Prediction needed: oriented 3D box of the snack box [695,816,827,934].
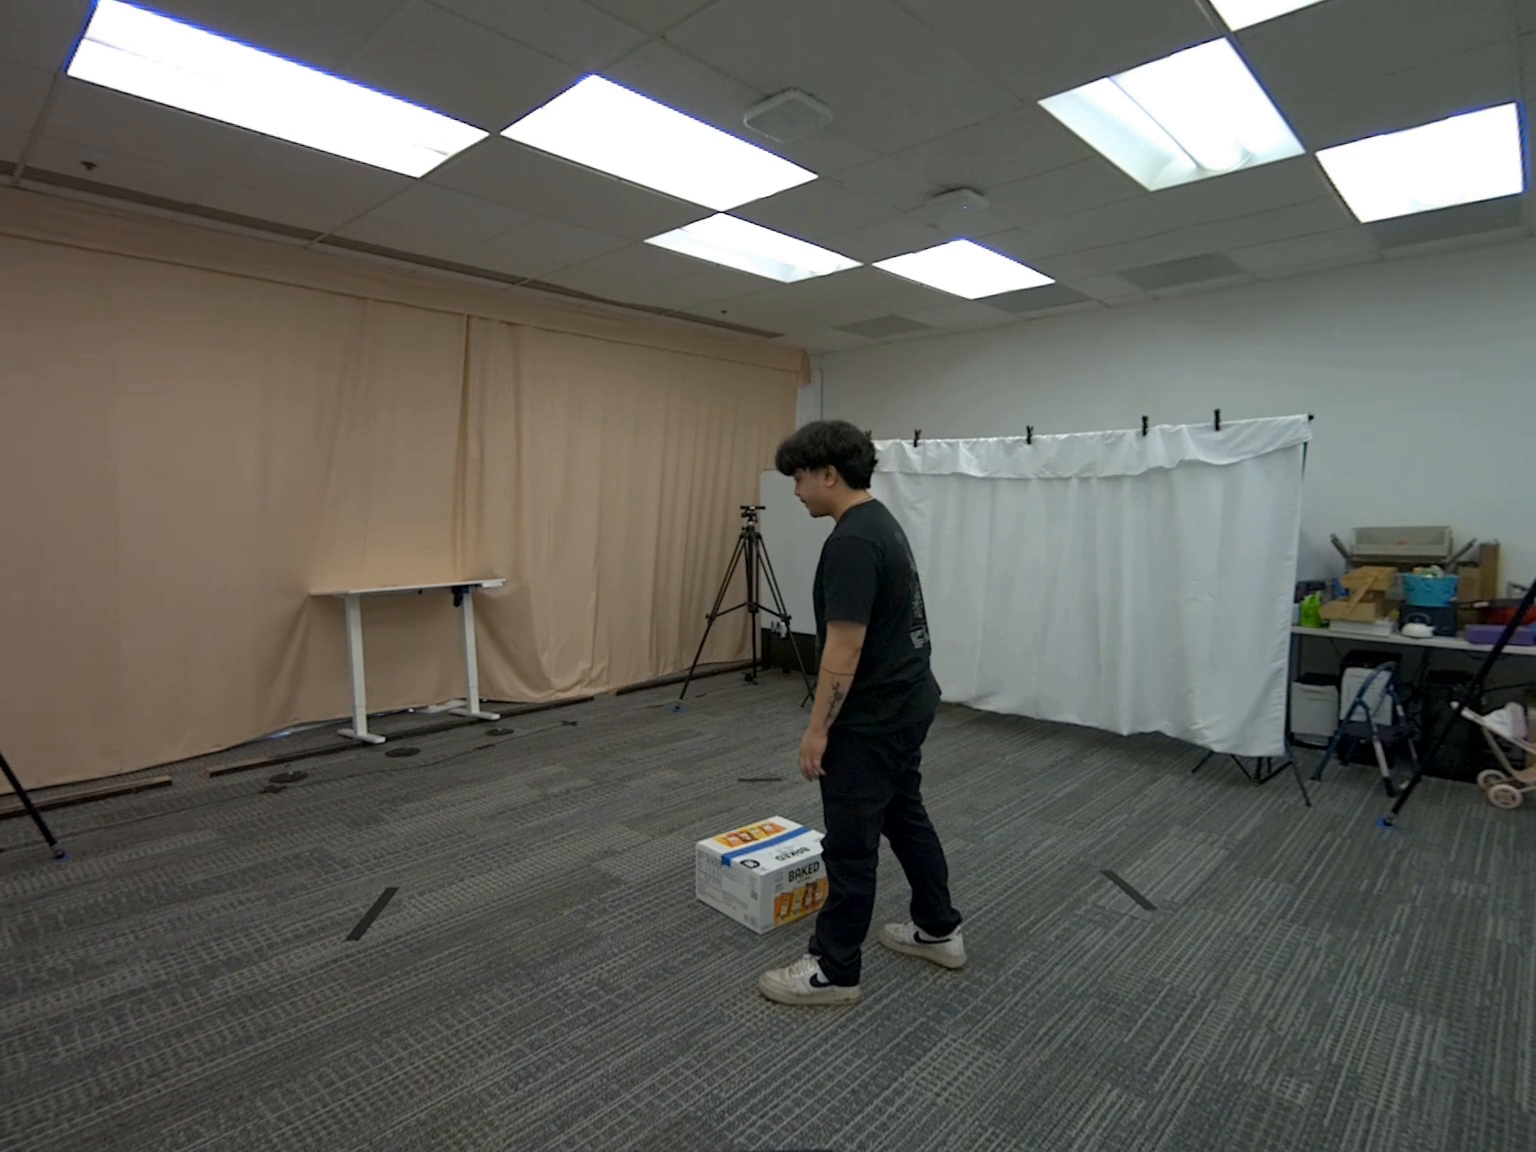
[{"bbox_3d":[0.010,1.043,2.973,0.393,0.205,0.352,-4,5,-42],"label":"snack box"}]
